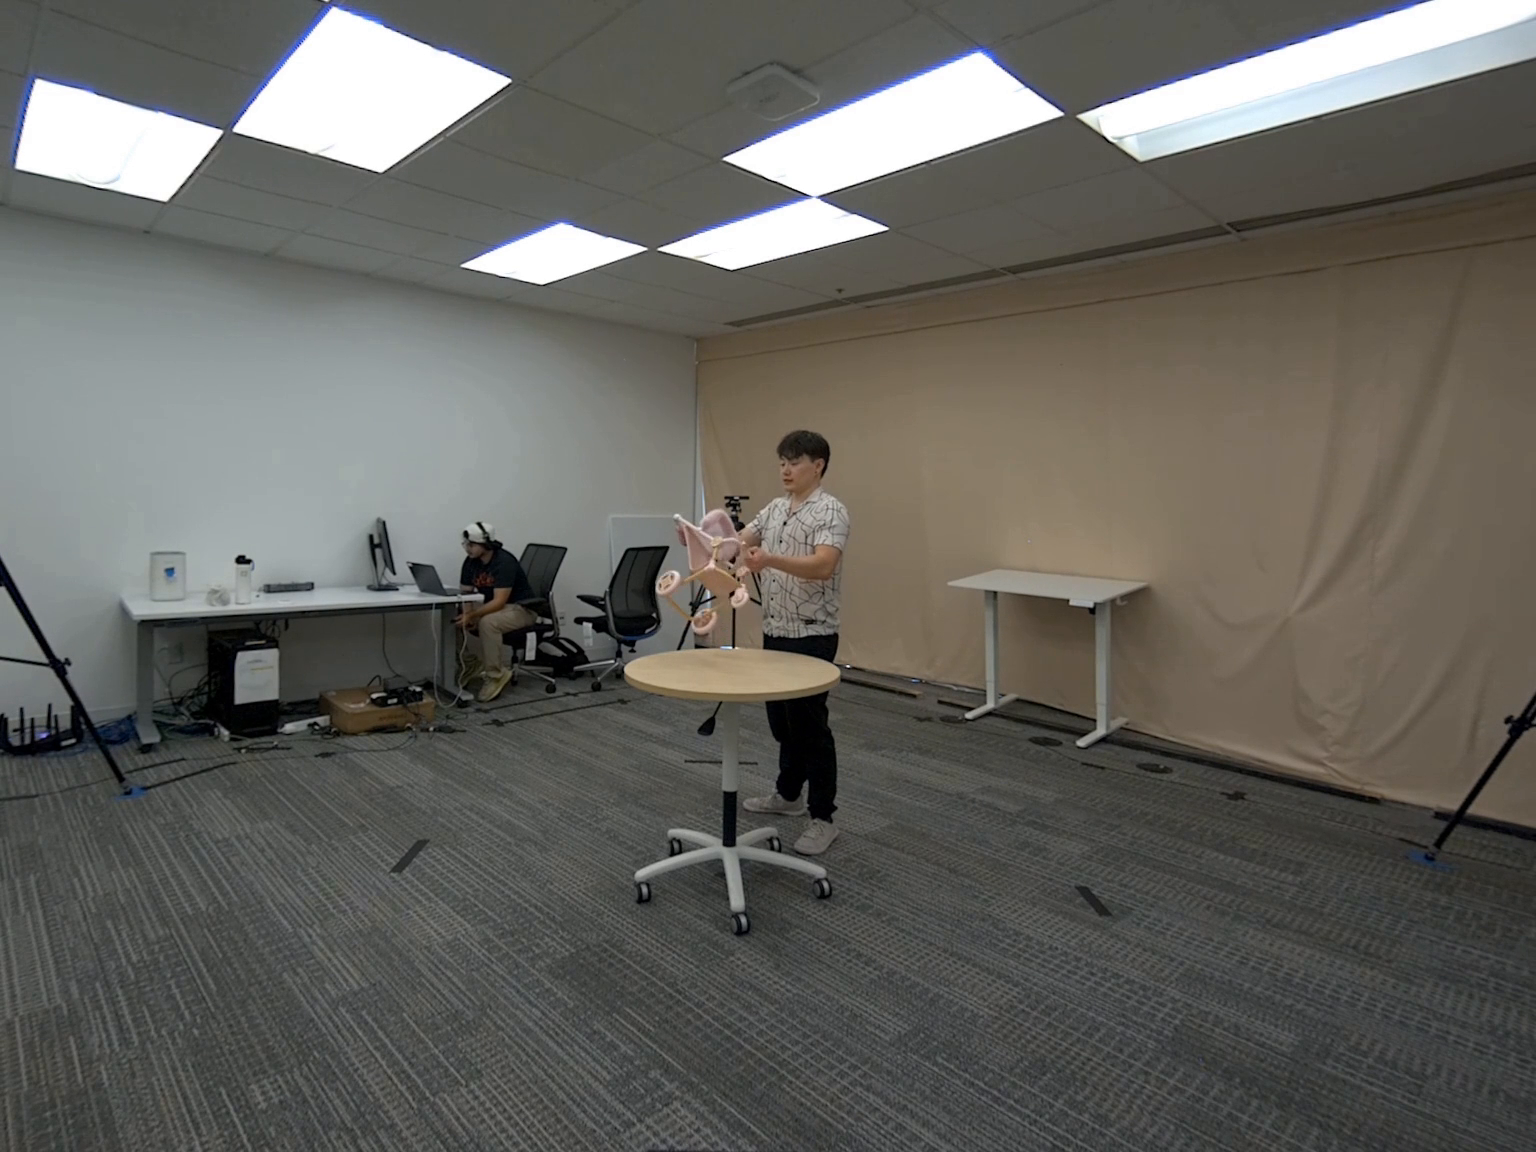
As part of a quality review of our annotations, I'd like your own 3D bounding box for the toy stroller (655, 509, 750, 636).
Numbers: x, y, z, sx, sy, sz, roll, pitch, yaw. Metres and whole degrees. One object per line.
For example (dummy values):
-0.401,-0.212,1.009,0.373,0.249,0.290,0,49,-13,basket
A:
-0.208,-0.049,3.191,0.344,0.546,0.273,-24,-47,25,toy stroller
